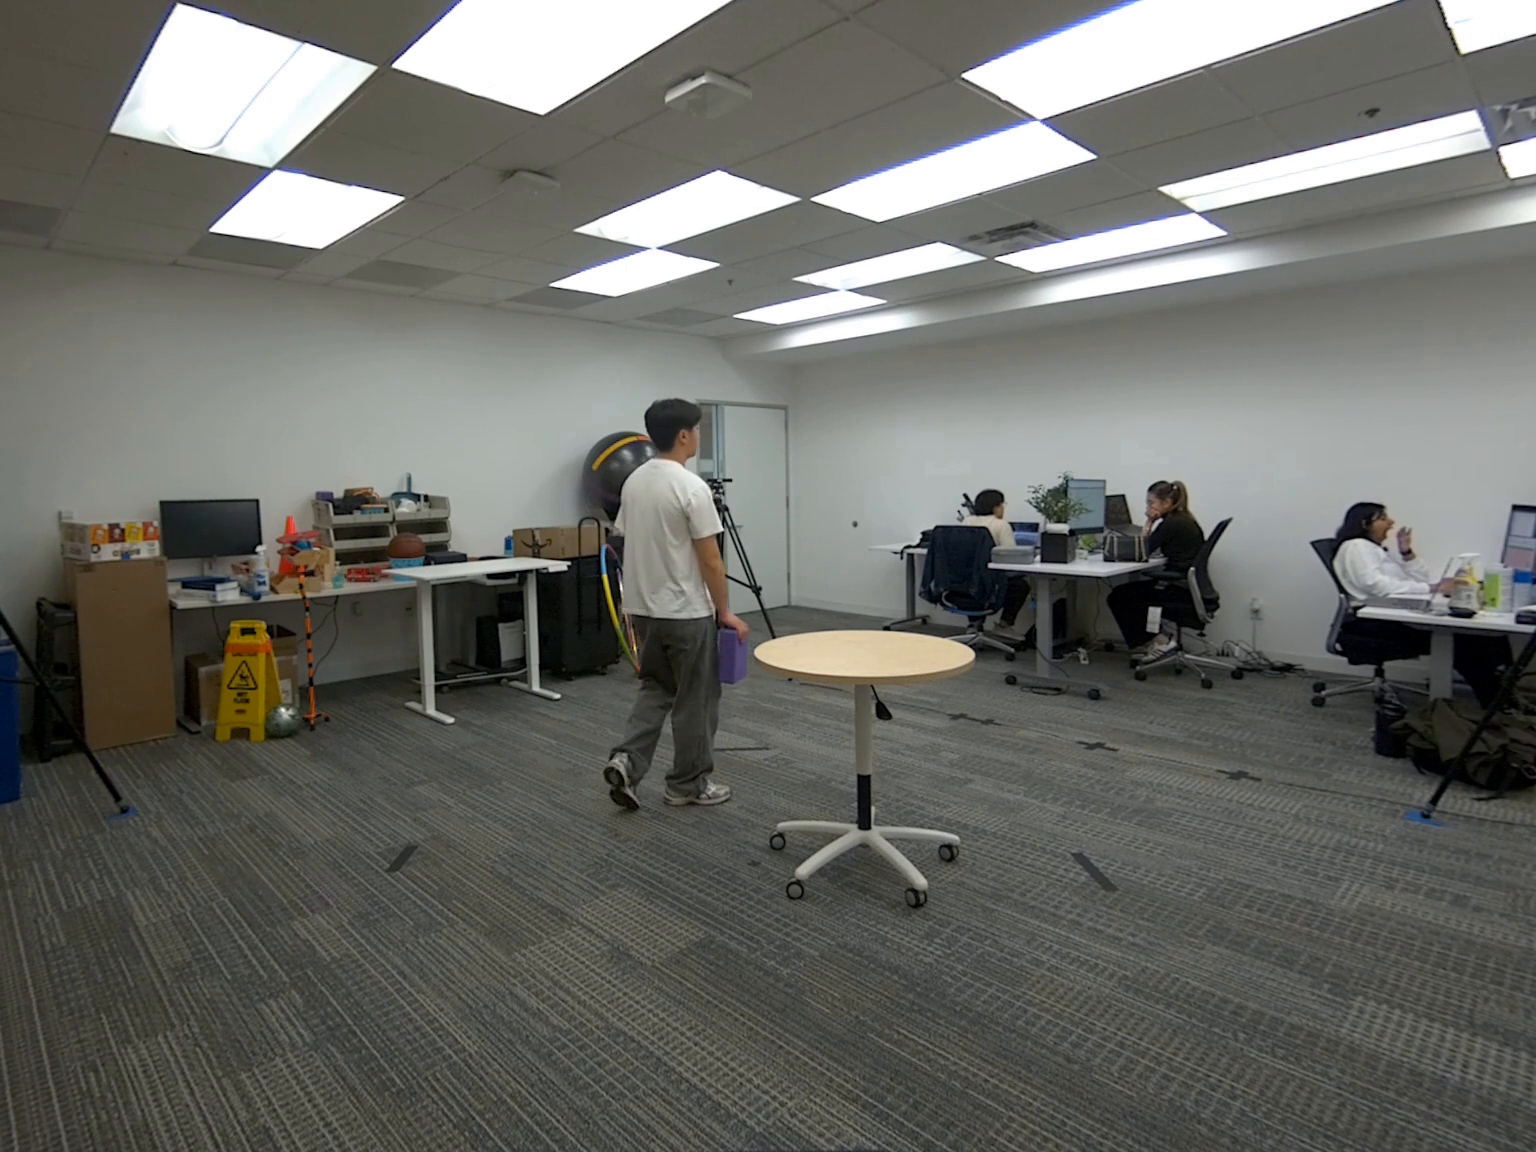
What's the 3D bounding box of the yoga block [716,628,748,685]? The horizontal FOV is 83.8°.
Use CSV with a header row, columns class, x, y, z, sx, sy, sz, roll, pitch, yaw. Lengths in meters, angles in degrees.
class,x,y,z,sx,sy,sz,roll,pitch,yaw
yoga block,-0.157,0.325,3.629,0.078,0.228,0.147,4,6,18
